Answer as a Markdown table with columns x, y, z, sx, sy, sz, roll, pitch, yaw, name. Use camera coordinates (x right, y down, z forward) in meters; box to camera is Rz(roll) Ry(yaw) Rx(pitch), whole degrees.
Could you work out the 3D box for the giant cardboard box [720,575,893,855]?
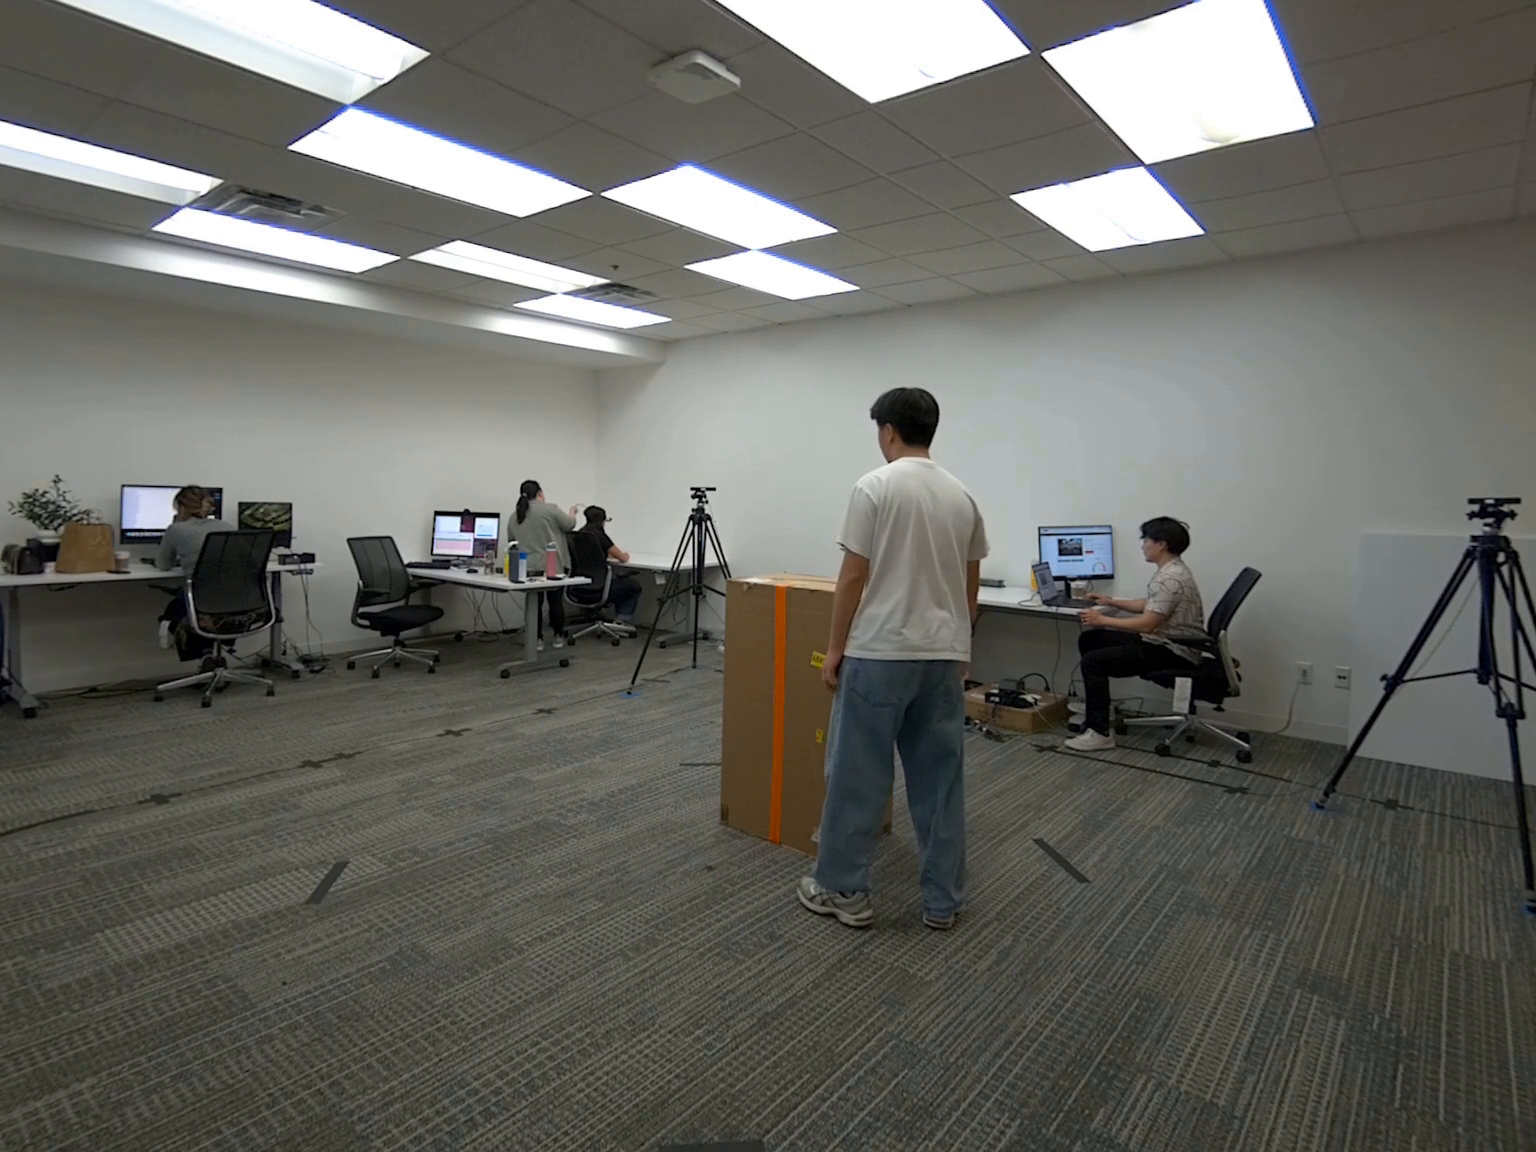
| x | y | z | sx | sy | sz | roll | pitch | yaw | name |
| --- | --- | --- | --- | --- | --- | --- | --- | --- | --- |
| 0.151 | 0.529 | 3.480 | 0.597 | 1.023 | 0.413 | 4 | 4 | 39 | giant cardboard box |
